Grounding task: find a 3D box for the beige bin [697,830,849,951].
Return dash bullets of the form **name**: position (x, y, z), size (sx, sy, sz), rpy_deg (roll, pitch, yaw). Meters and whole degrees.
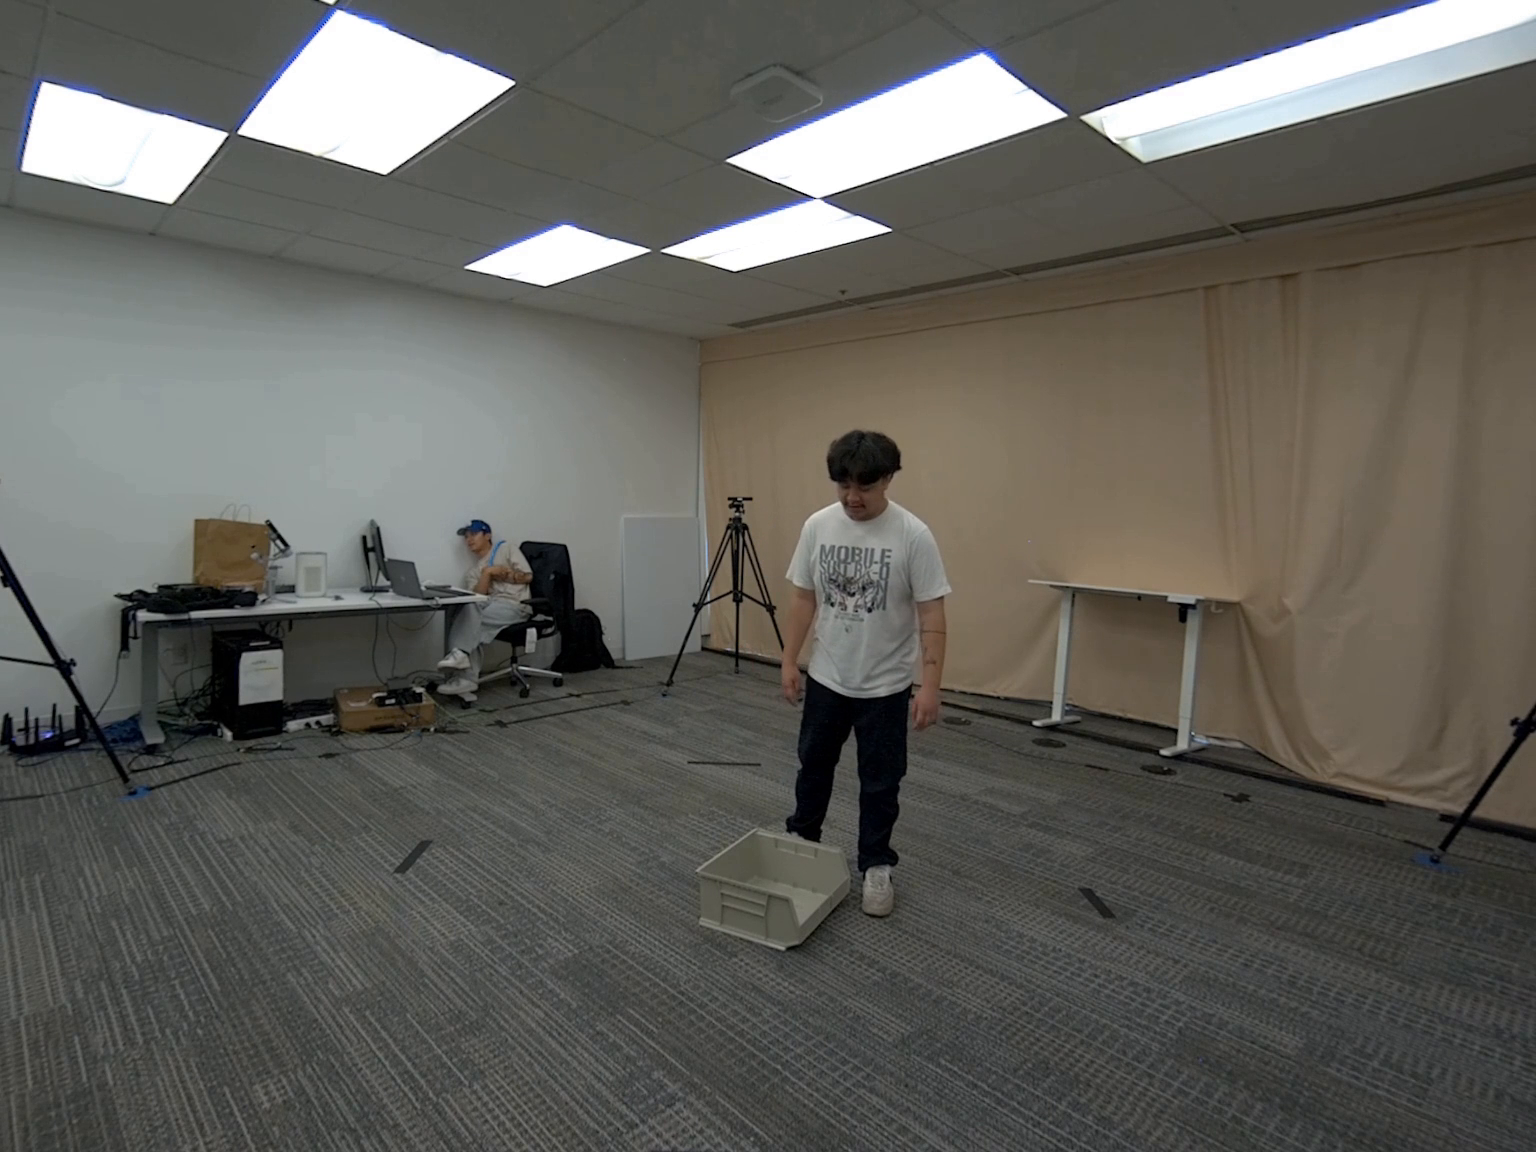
- **beige bin**: position (0.020, 1.046, 2.833), size (0.385, 0.188, 0.415), rpy_deg (3, 5, 28)
